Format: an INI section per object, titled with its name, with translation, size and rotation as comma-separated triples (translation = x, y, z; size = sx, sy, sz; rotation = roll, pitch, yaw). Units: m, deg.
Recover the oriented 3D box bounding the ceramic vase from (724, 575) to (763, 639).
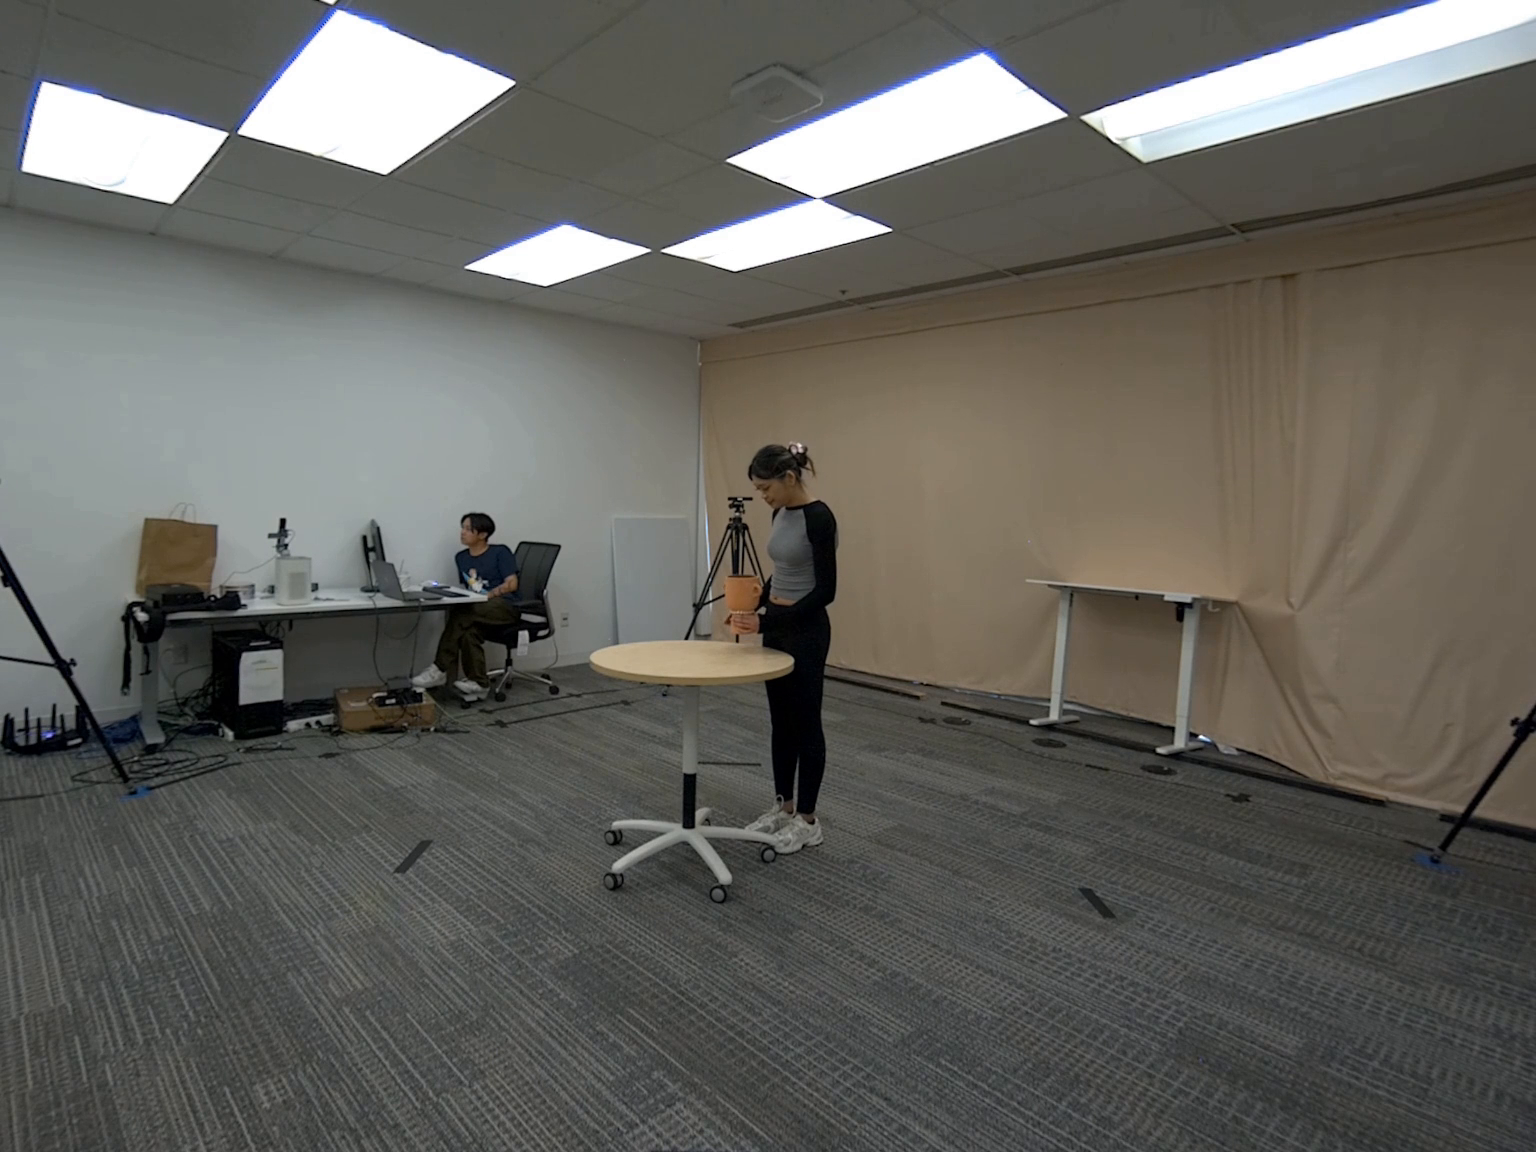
[ceramic vase]
translation = -0.102, 0.113, 3.274
size = 0.134, 0.219, 0.160
rotation = -2, 4, -10
